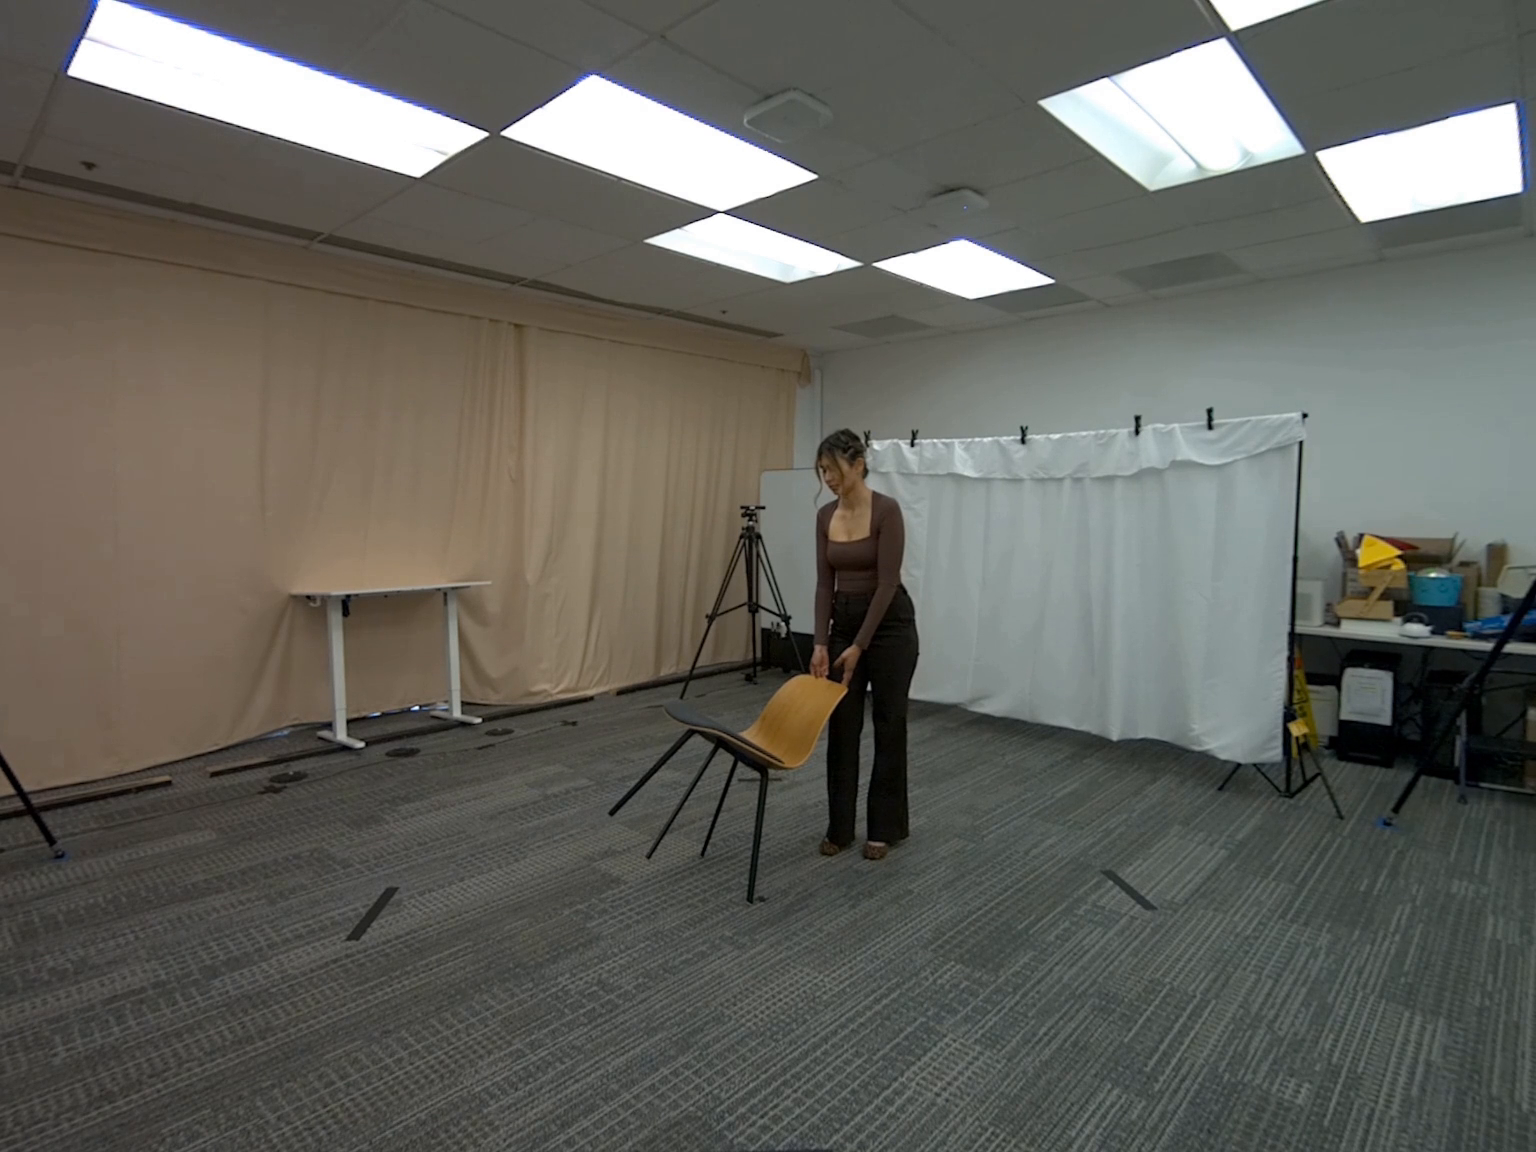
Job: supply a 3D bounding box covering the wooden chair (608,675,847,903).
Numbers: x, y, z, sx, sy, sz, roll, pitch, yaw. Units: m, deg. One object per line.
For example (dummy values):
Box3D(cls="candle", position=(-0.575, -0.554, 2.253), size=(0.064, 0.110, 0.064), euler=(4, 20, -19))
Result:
Box3D(cls="wooden chair", position=(-0.139, 0.645, 3.123), size=(0.510, 0.877, 0.491), euler=(36, -12, -23))
